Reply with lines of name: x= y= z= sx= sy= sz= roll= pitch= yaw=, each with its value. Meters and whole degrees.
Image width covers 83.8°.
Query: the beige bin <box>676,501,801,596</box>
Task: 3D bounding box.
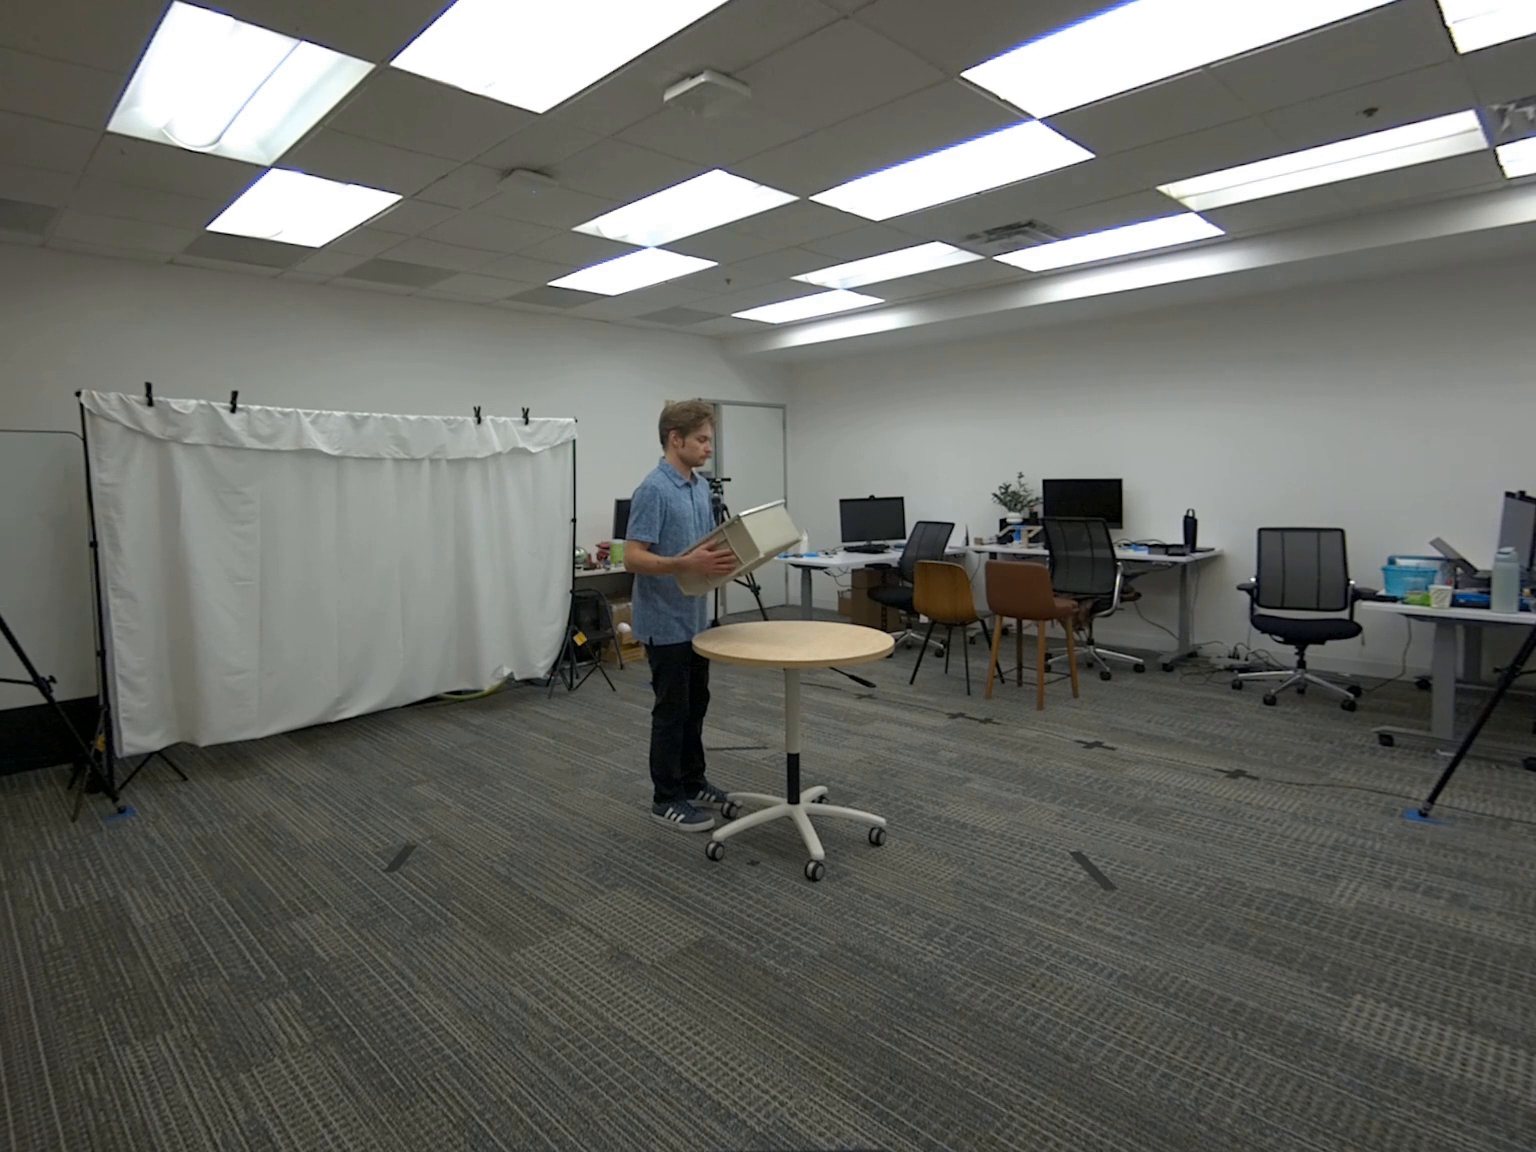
beige bin: x=-0.114 y=-0.097 z=3.311 sx=0.380 sy=0.190 sz=0.416 roll=-32 pitch=-3 yaw=26
